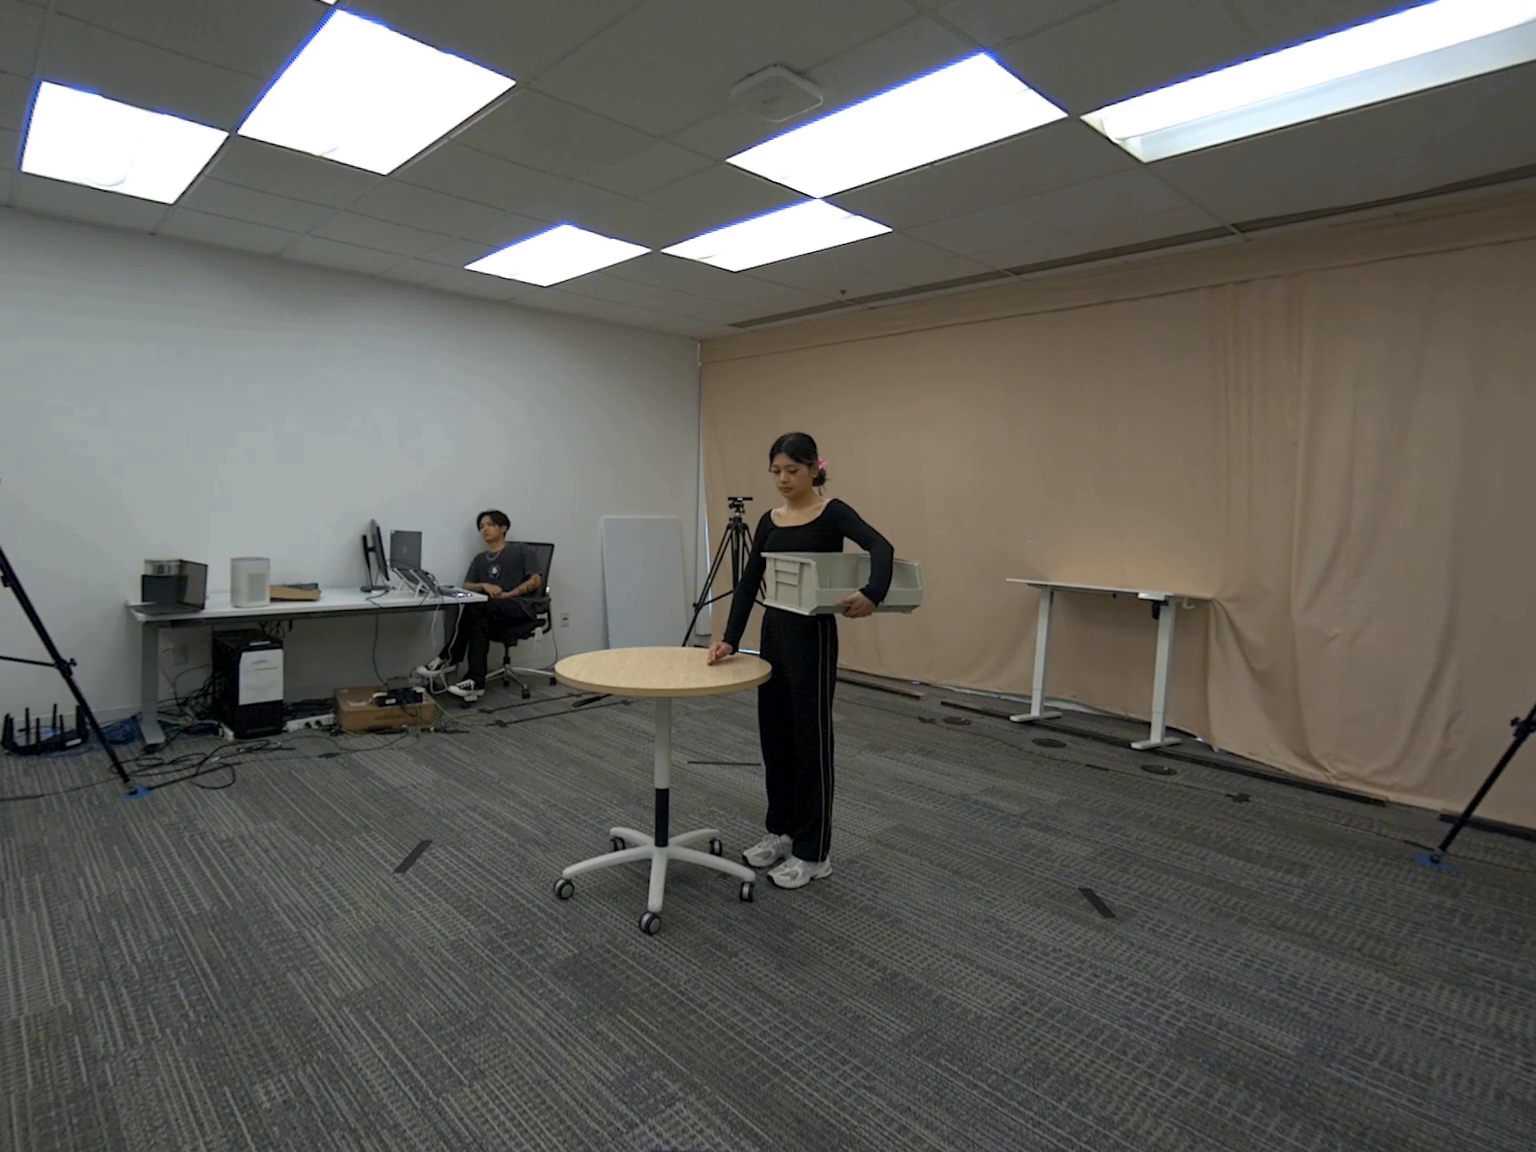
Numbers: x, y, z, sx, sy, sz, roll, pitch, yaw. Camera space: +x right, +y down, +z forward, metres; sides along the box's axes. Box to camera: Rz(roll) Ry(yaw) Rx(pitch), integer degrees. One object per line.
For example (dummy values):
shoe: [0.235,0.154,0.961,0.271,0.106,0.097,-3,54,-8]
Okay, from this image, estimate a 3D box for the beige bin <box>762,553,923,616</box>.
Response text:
beige bin: [0.245,0.027,2.866,0.414,0.188,0.385,-1,5,-26]
